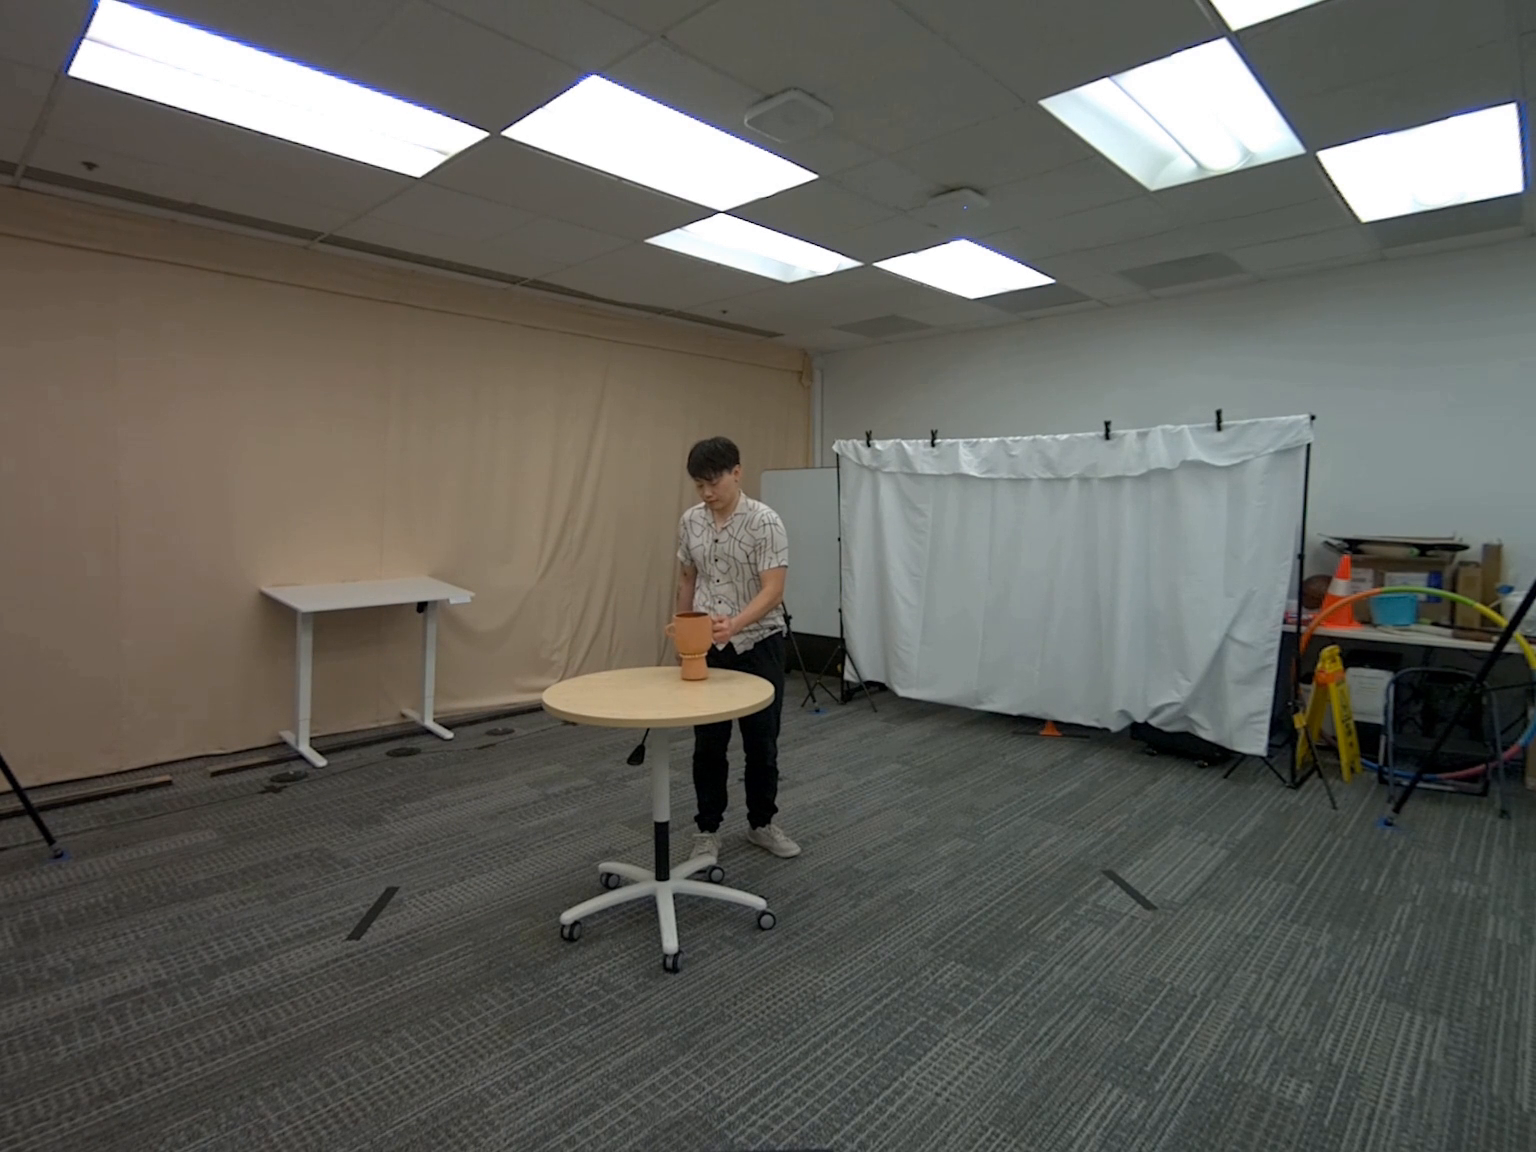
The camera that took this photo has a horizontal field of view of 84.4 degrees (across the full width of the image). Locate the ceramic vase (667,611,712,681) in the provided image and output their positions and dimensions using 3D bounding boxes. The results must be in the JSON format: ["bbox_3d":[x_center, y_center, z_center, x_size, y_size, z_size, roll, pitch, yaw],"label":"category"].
[{"bbox_3d":[-0.269,0.246,2.954,0.162,0.219,0.132,-2,6,21],"label":"ceramic vase"}]
